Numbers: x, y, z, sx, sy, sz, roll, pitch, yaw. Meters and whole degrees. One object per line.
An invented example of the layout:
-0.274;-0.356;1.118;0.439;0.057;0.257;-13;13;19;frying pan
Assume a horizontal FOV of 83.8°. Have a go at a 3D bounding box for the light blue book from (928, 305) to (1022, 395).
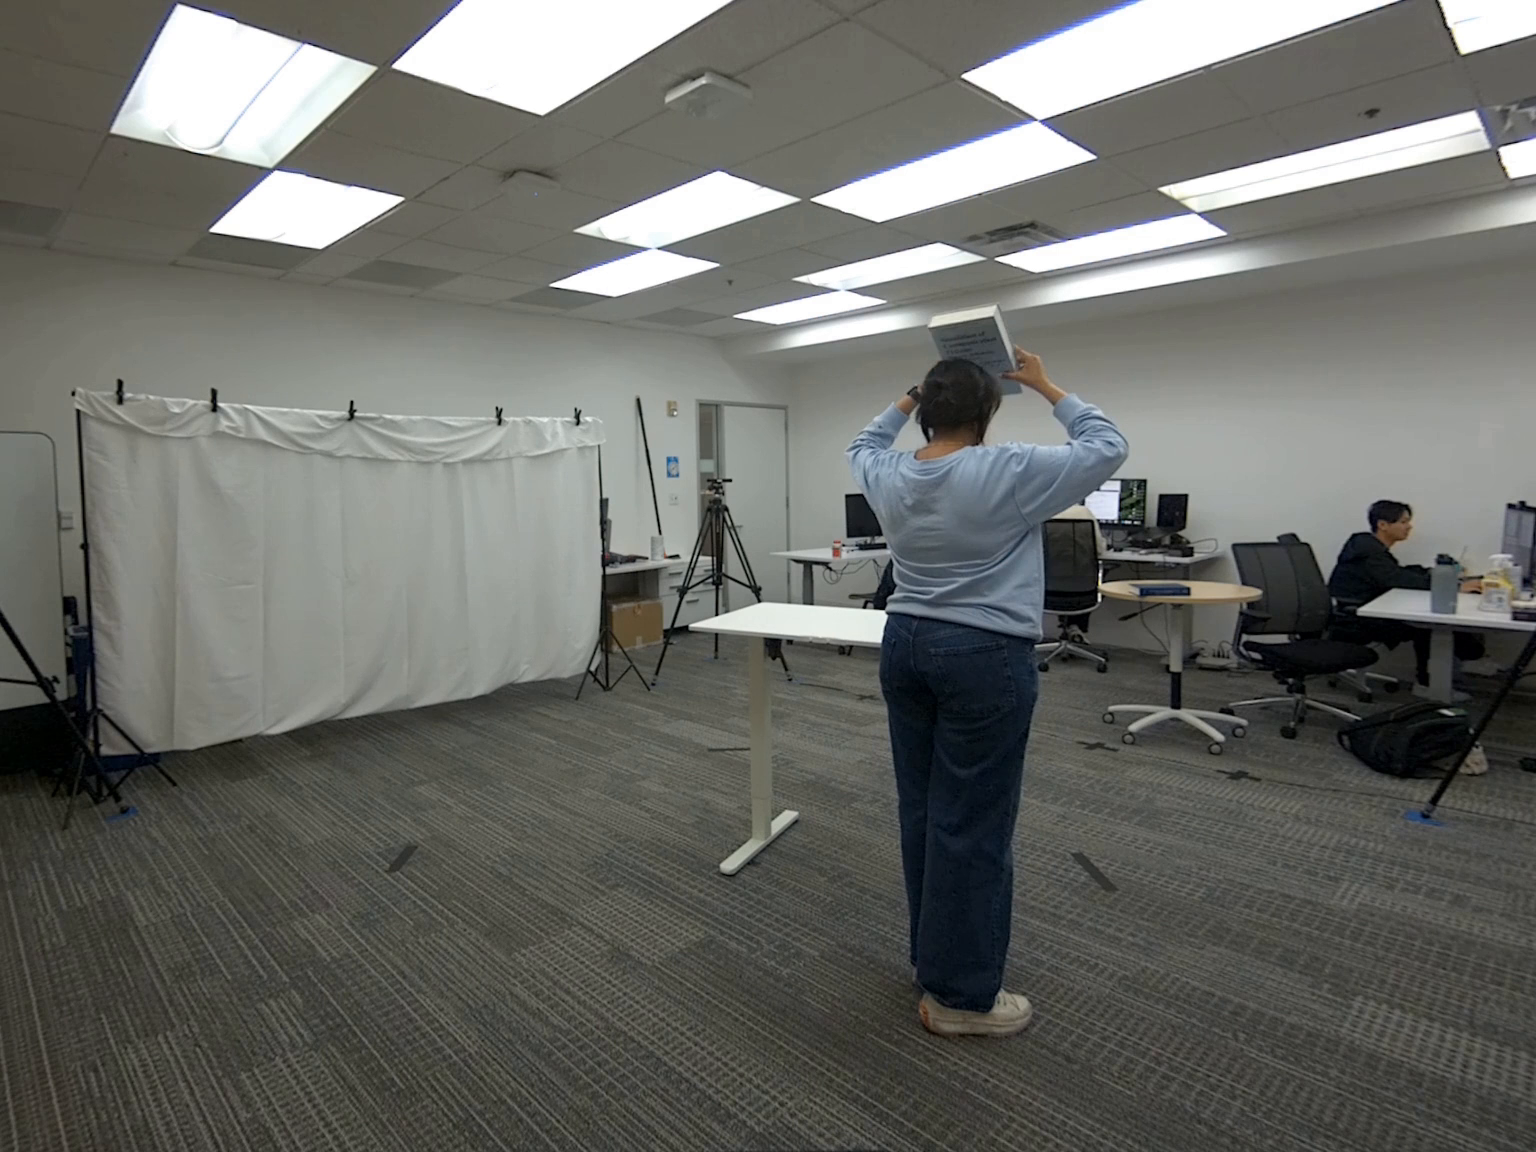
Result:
0.579;-0.603;2.316;0.197;0.252;0.059;1;48;39;light blue book
